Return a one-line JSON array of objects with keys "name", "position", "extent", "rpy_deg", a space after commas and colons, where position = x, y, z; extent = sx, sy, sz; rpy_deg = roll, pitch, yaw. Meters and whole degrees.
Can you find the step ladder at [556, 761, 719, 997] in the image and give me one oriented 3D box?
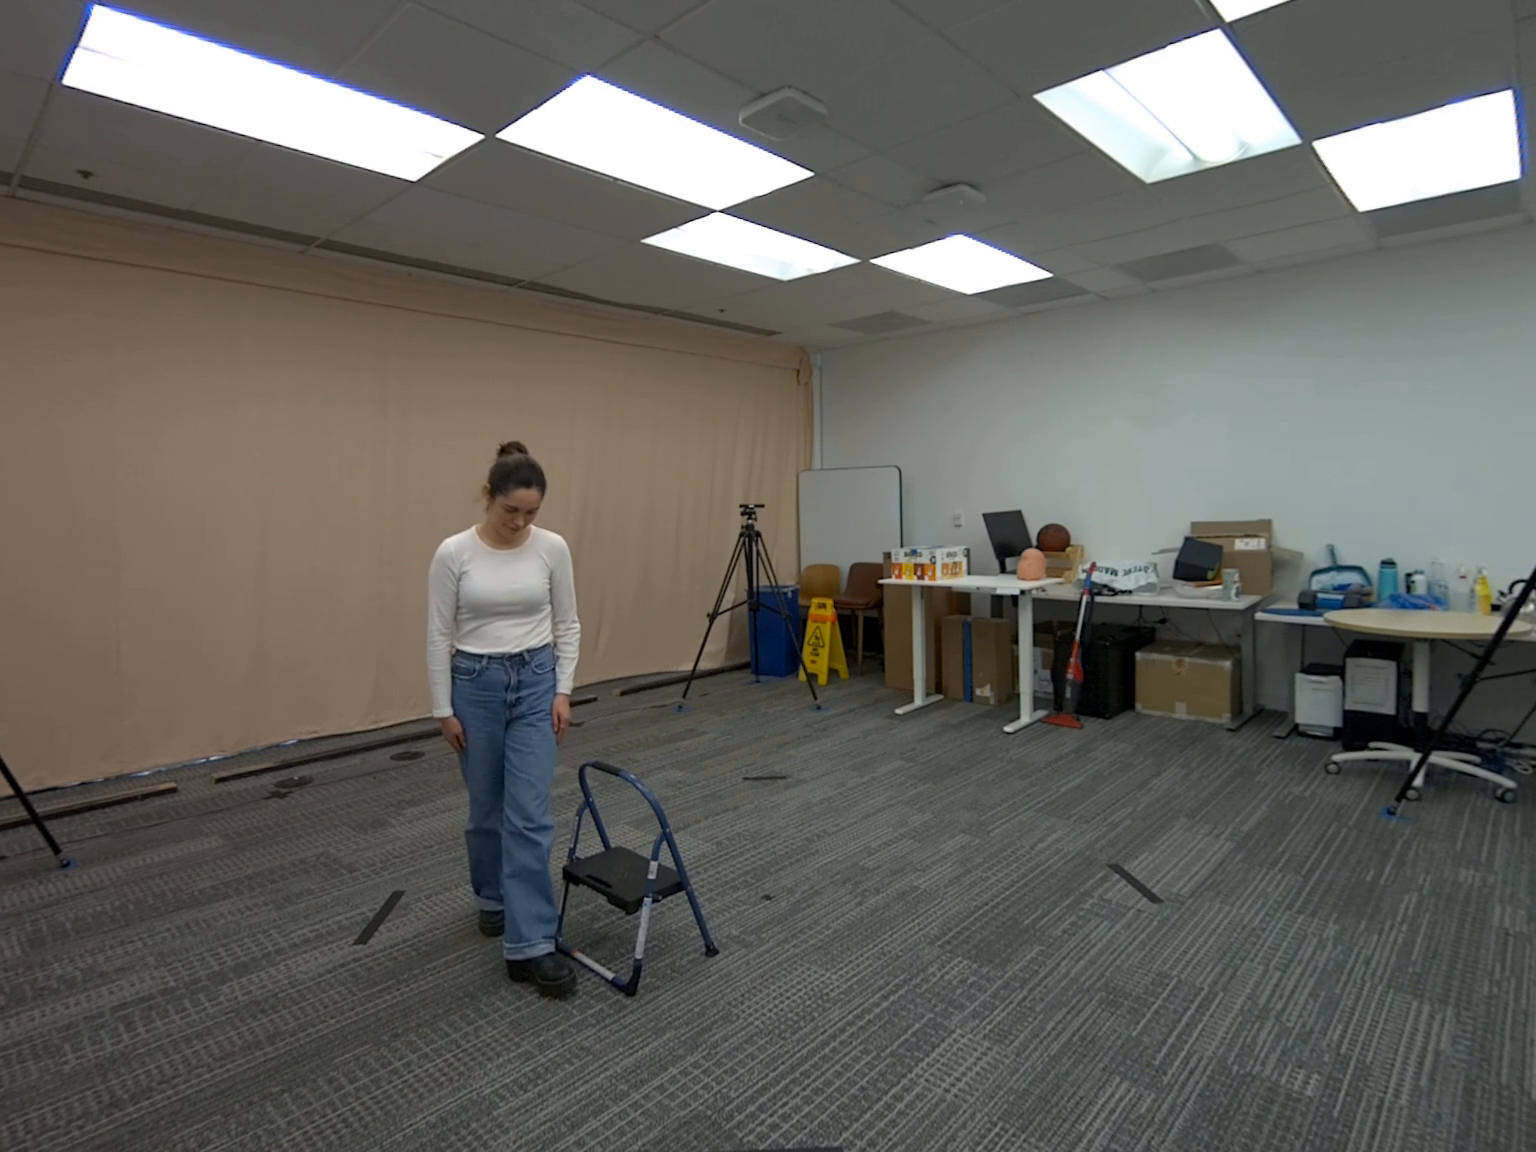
[{"name": "step ladder", "position": [-0.428, 0.881, 2.631], "extent": [0.445, 0.605, 0.339], "rpy_deg": [1, 4, 43]}]
